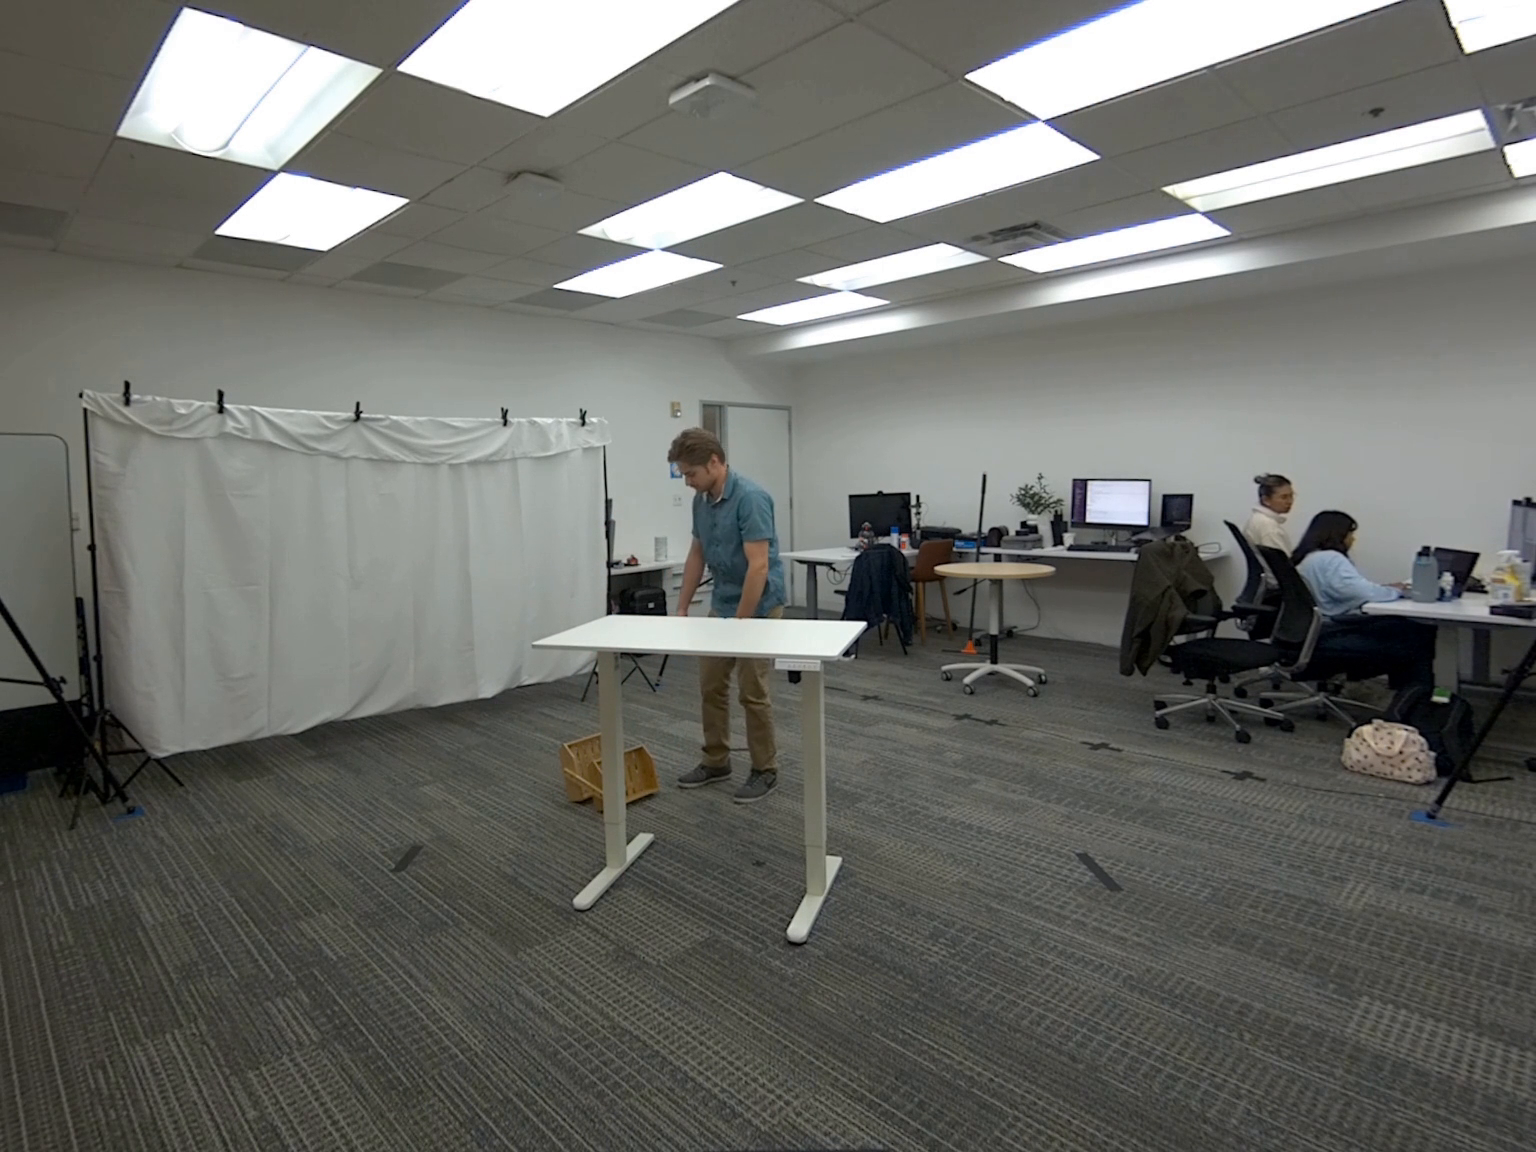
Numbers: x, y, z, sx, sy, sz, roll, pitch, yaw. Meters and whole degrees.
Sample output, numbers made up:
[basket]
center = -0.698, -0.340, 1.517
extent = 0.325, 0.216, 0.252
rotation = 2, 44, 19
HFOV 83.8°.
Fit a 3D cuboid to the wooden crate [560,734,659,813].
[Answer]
[wooden crate]
center = -0.701, 0.849, 3.802
extent = 0.278, 0.304, 0.316
rotation = -19, -8, 37
